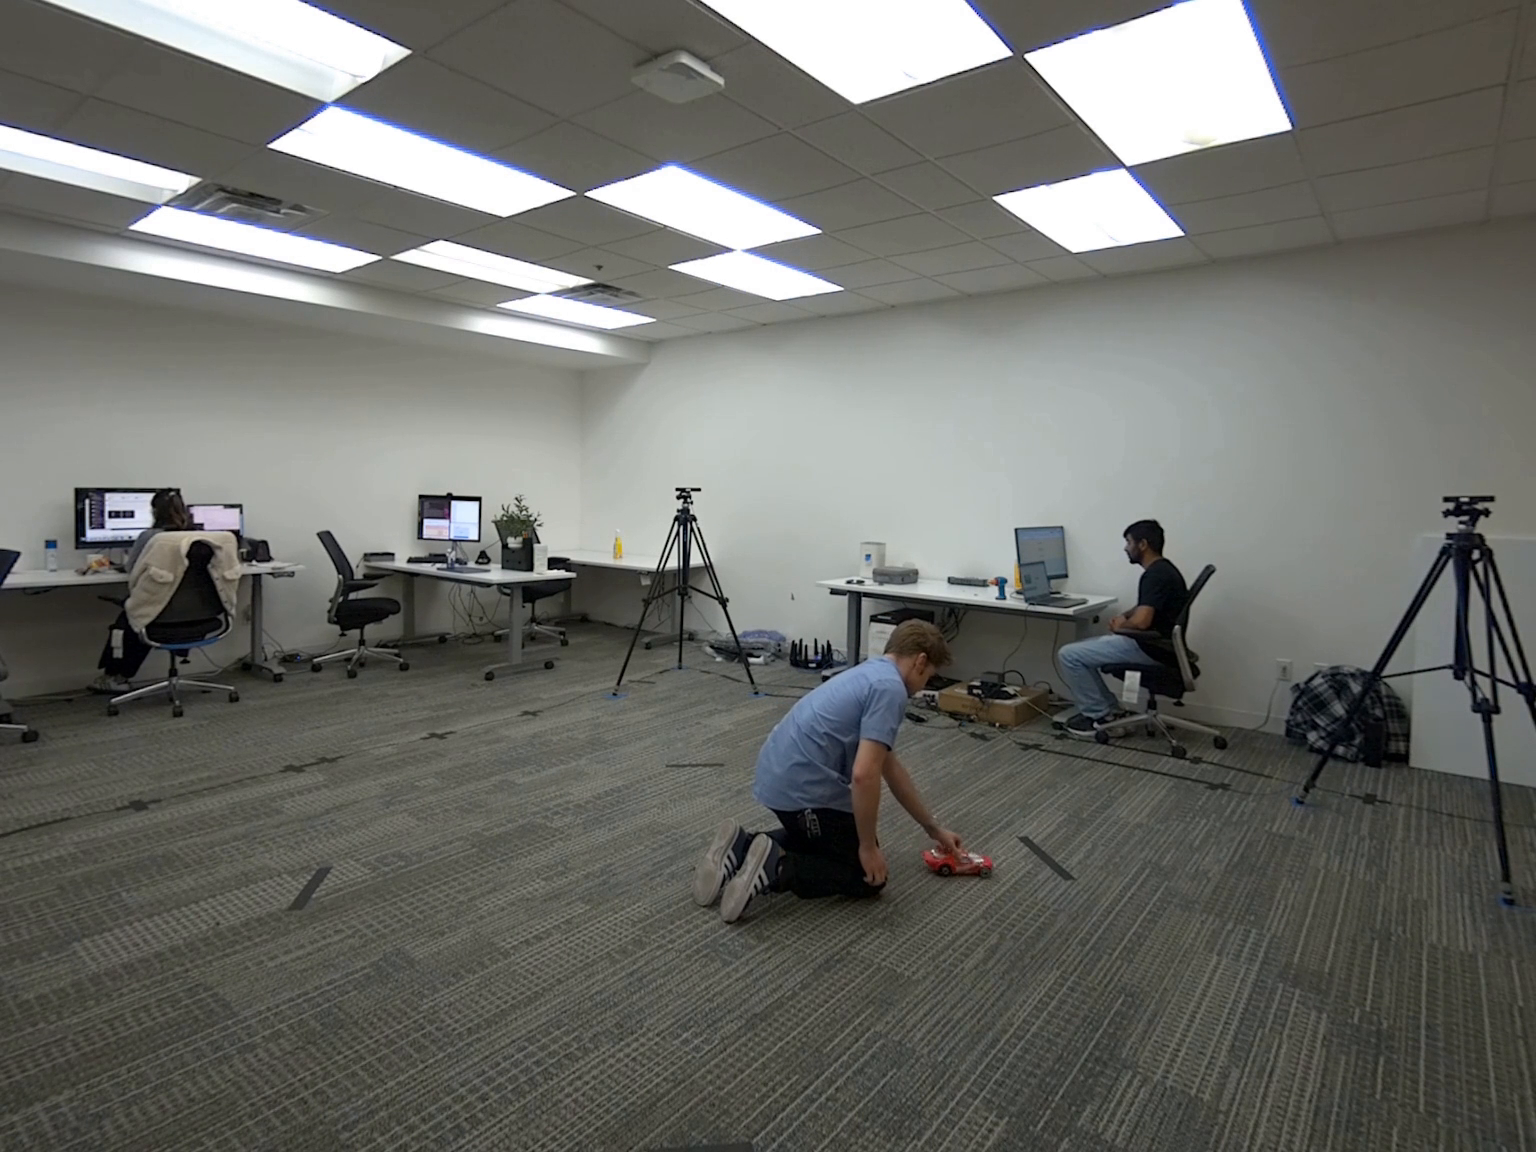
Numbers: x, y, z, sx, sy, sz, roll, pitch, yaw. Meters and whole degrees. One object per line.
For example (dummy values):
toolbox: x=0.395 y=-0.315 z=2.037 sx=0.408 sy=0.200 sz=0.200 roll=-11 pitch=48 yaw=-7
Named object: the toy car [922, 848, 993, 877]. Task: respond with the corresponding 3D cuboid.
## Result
toy car: x=0.685 y=1.057 z=3.143 sx=0.254 sy=0.083 sz=0.131 roll=11 pitch=3 yaw=-1
